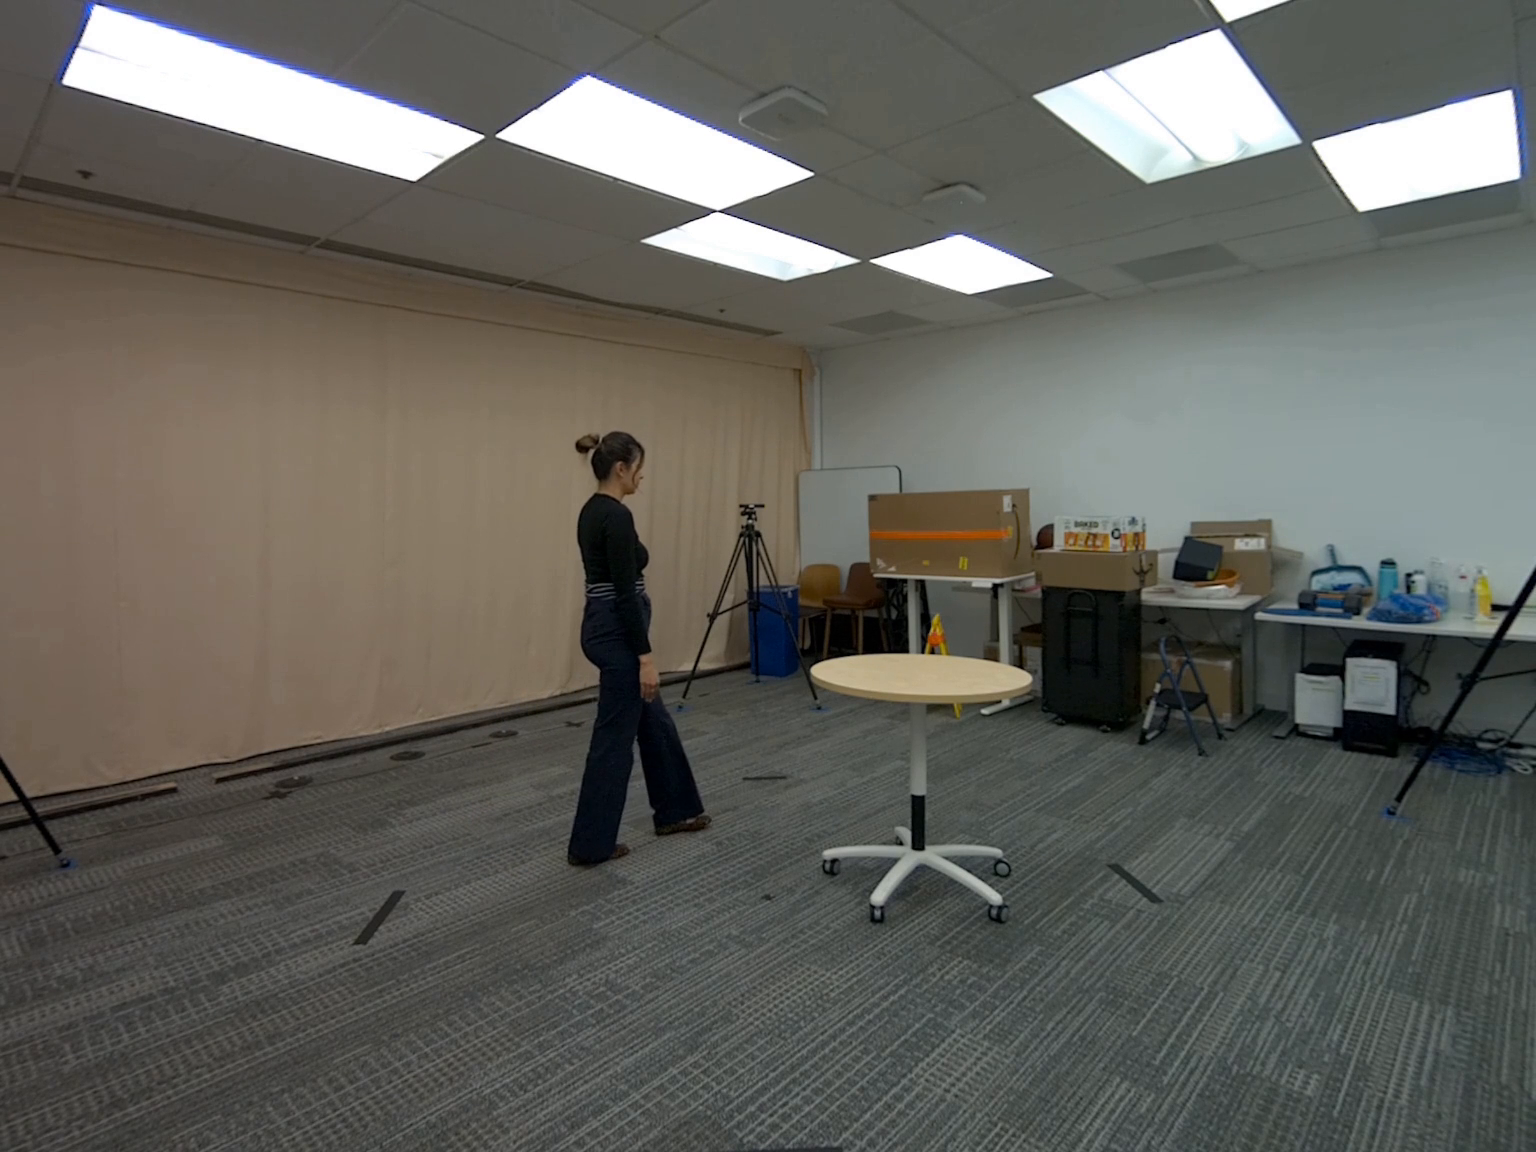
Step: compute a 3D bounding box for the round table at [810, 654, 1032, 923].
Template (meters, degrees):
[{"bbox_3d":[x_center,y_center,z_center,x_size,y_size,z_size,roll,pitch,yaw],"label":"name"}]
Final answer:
[{"bbox_3d":[0.543,0.738,3.023,0.763,0.792,0.766,-1,4,-2],"label":"round table"}]
